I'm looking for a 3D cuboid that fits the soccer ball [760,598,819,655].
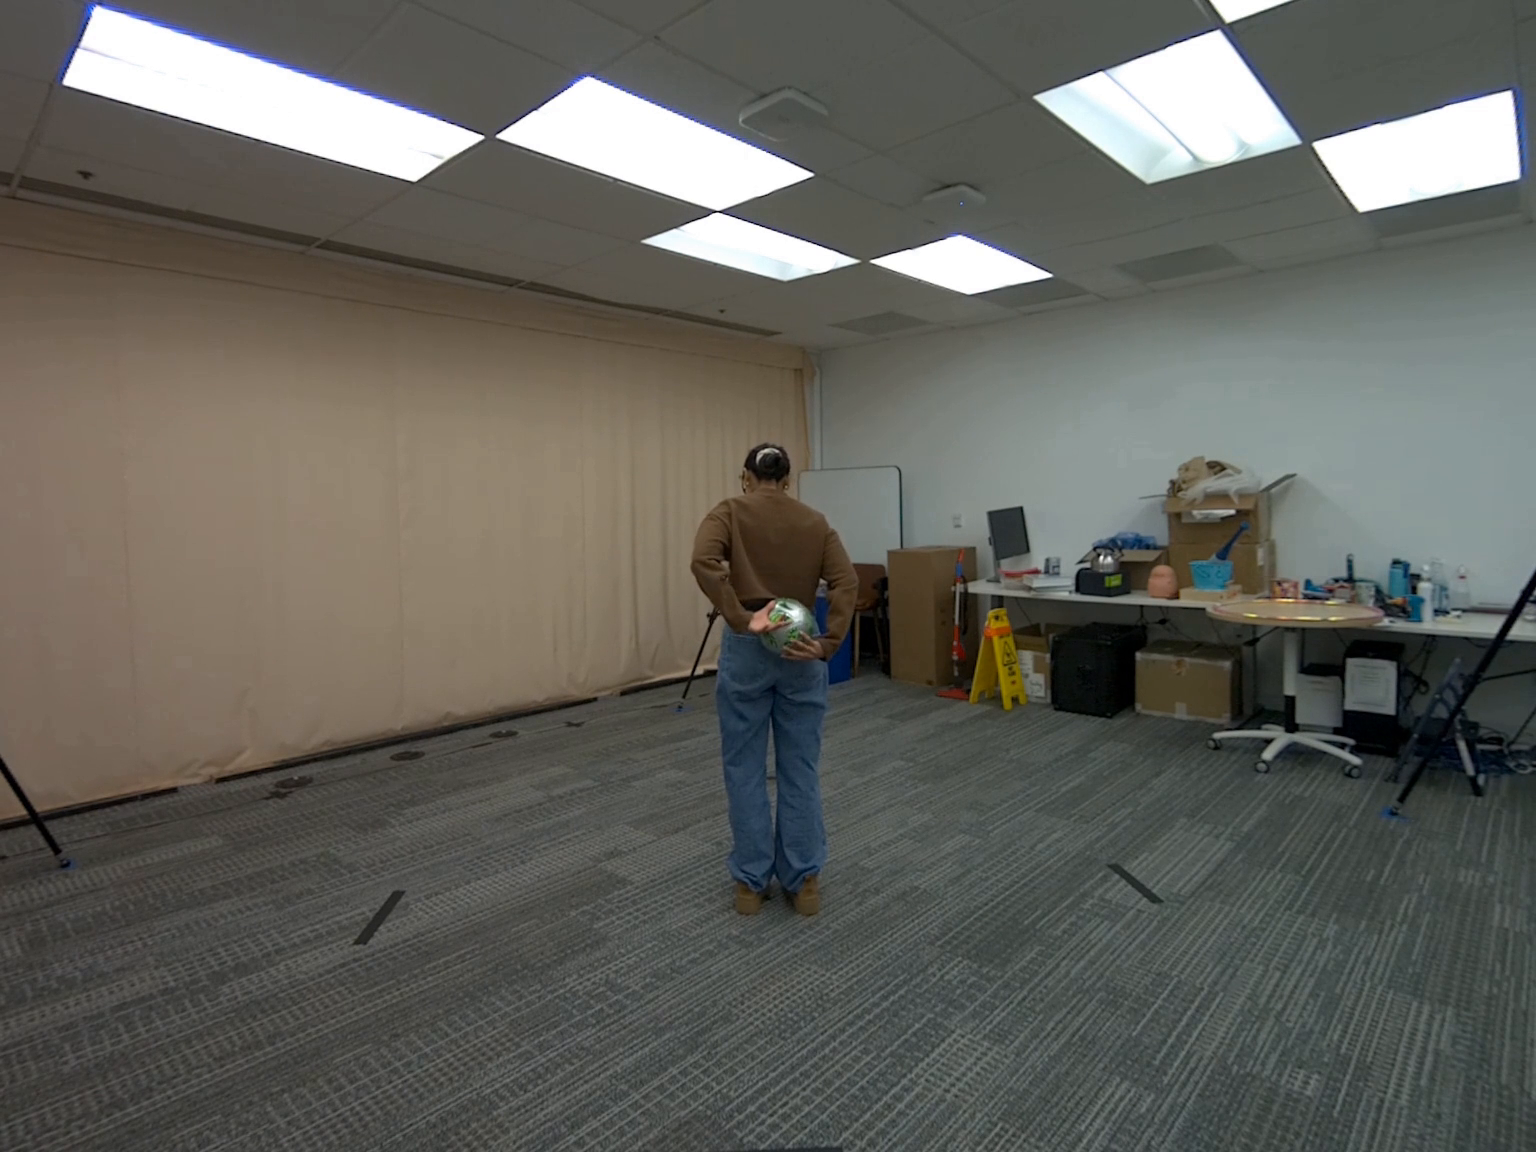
[{"bbox_3d":[0.051,0.163,2.765,0.187,0.187,0.188,-1,4,-2],"label":"soccer ball"}]
